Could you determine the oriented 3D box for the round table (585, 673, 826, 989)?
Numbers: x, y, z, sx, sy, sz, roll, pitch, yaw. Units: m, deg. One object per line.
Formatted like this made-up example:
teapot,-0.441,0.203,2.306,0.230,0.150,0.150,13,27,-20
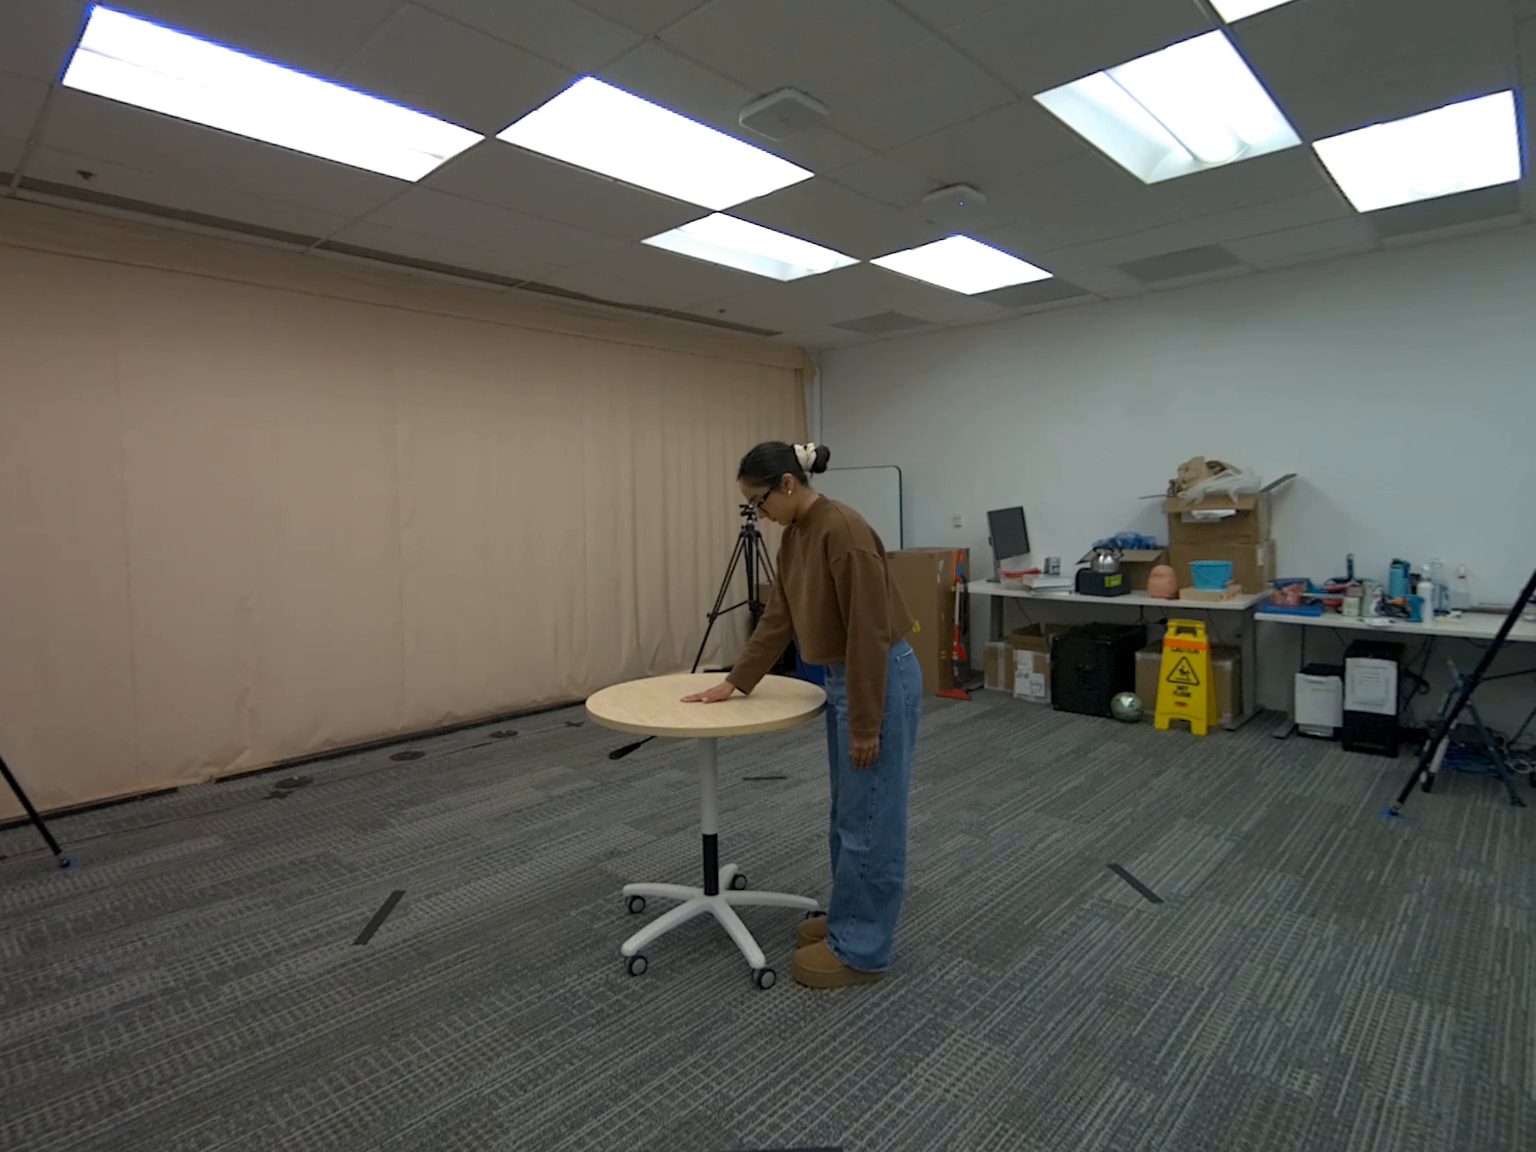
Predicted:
round table,-0.187,0.780,2.712,0.763,0.792,0.767,-1,4,-2
